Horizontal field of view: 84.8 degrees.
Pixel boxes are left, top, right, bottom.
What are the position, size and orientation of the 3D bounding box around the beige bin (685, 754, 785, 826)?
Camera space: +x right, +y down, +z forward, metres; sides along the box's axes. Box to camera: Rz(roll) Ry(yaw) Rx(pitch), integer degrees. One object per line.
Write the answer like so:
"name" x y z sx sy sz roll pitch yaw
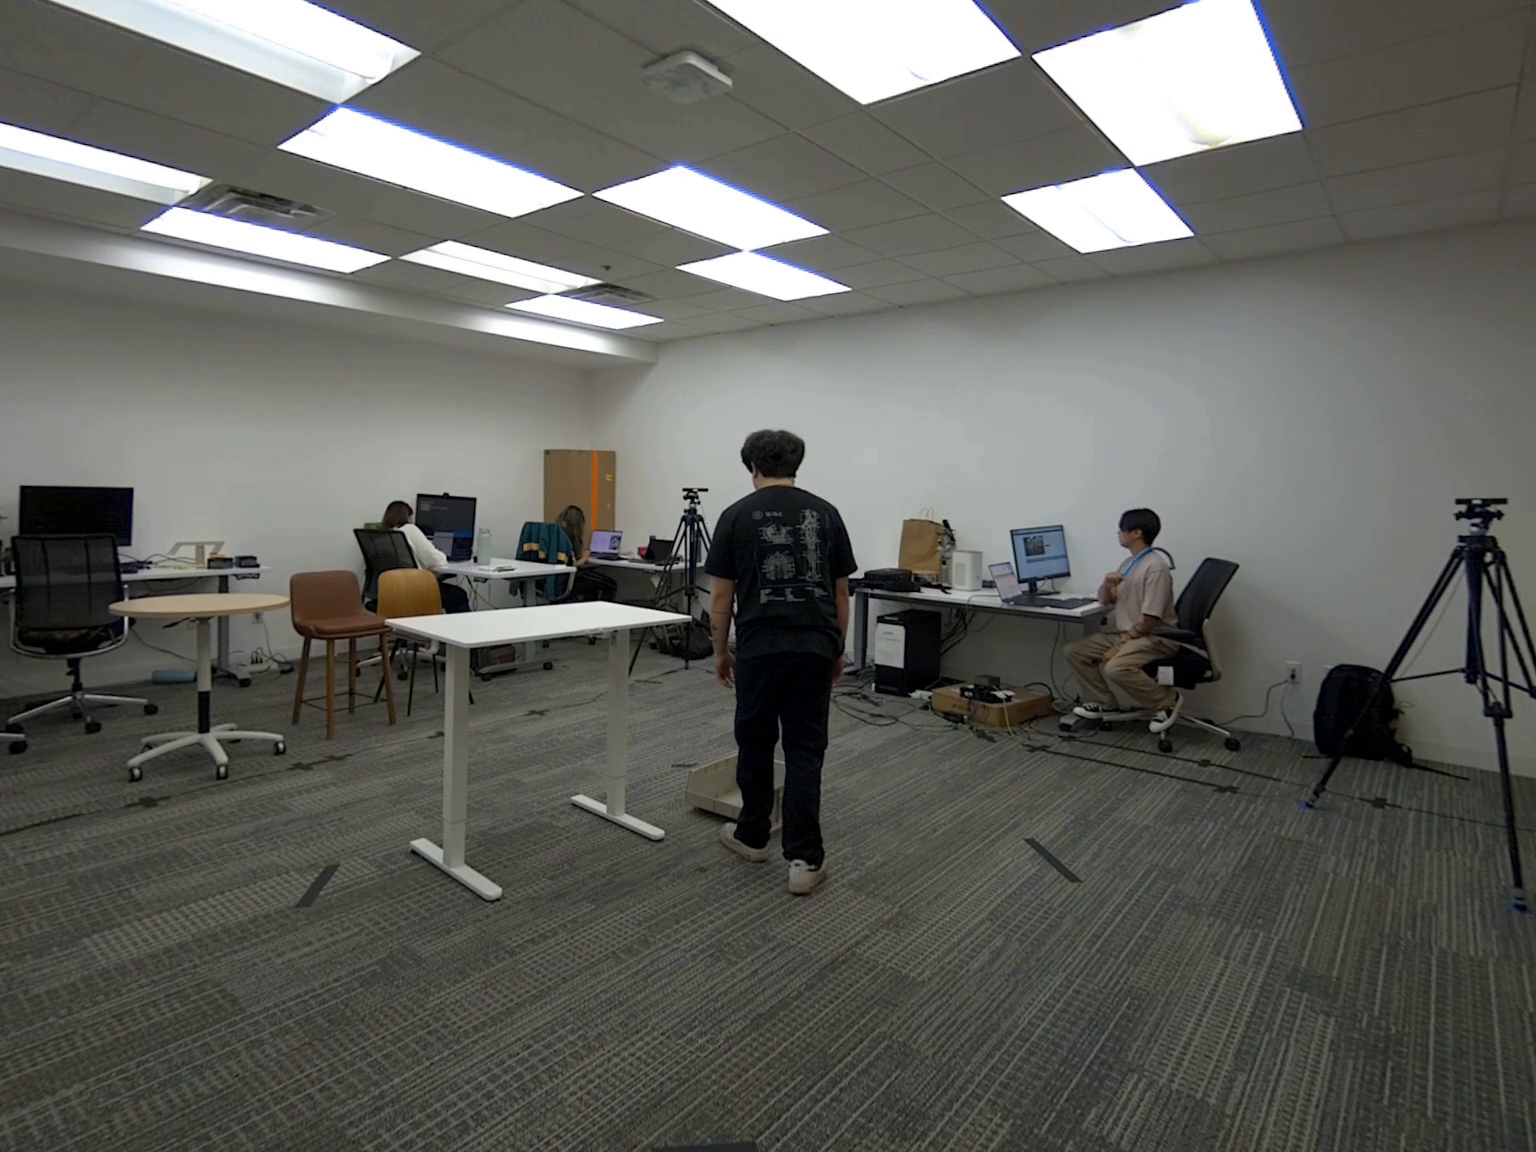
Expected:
"beige bin" -0.089 0.926 3.684 0.436 0.188 0.366 4 6 37
